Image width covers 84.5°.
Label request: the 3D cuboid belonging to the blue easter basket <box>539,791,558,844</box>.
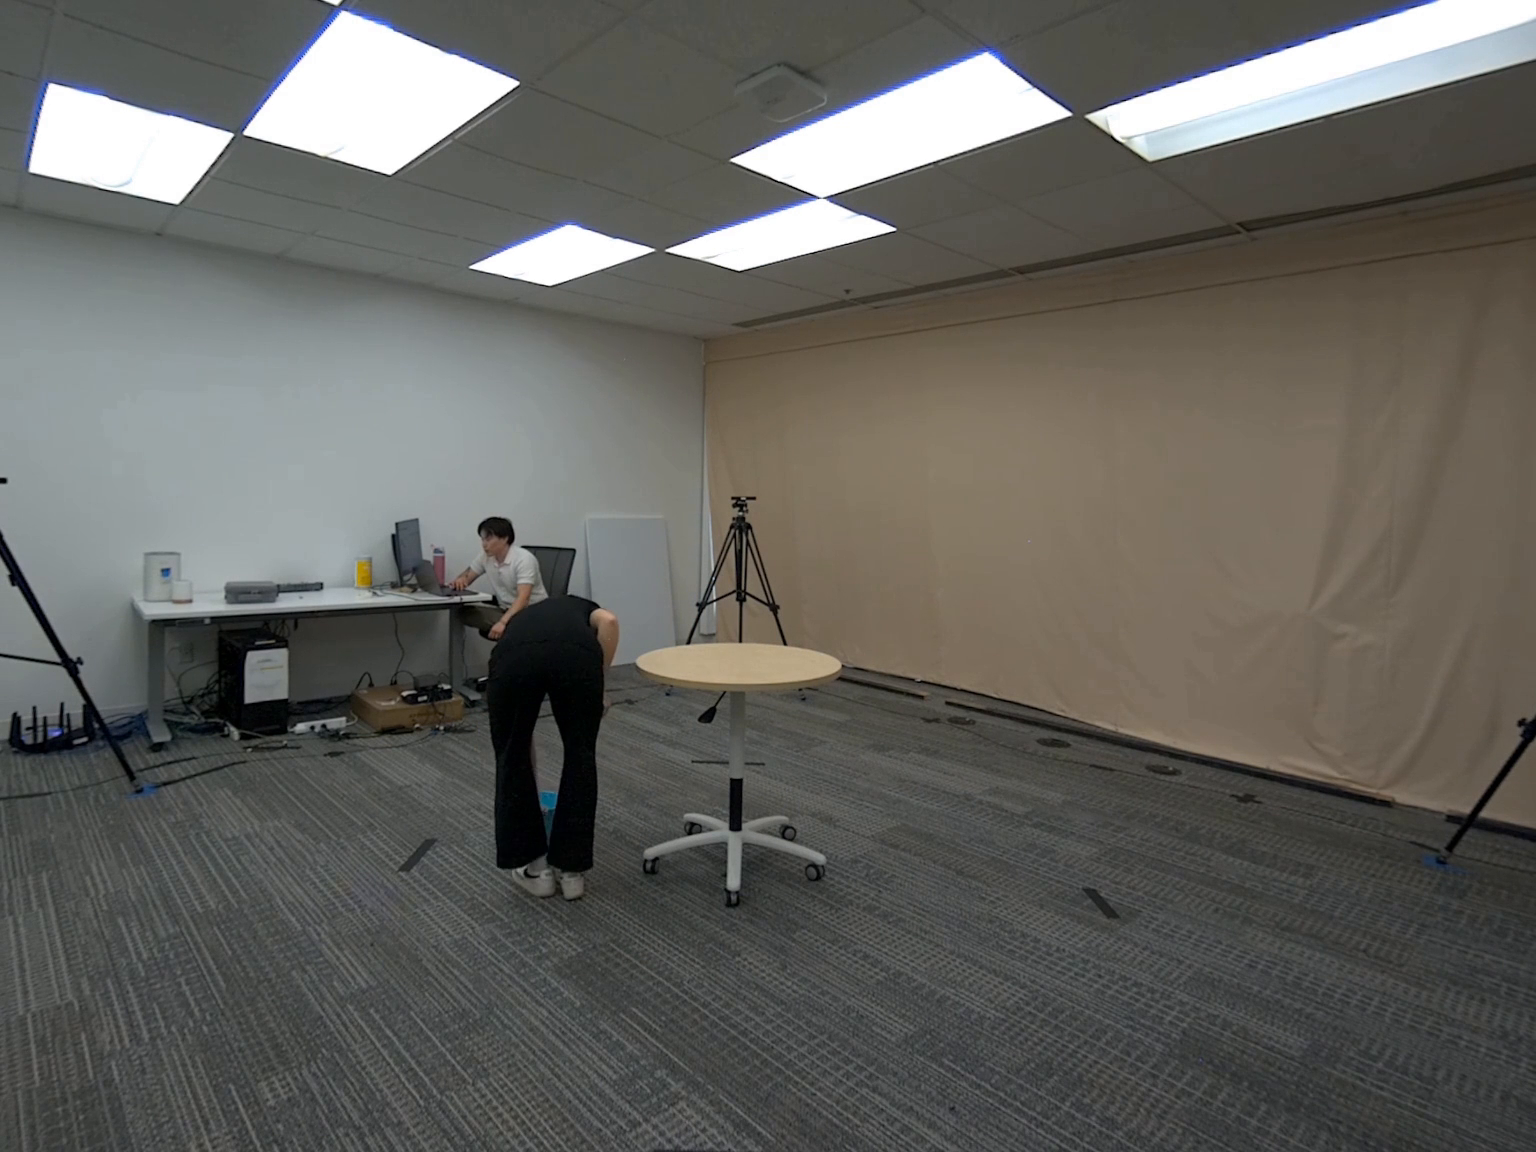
[{"bbox_3d":[-0.924,0.970,3.342,0.243,0.155,0.244,5,3,-2],"label":"blue easter basket"}]
